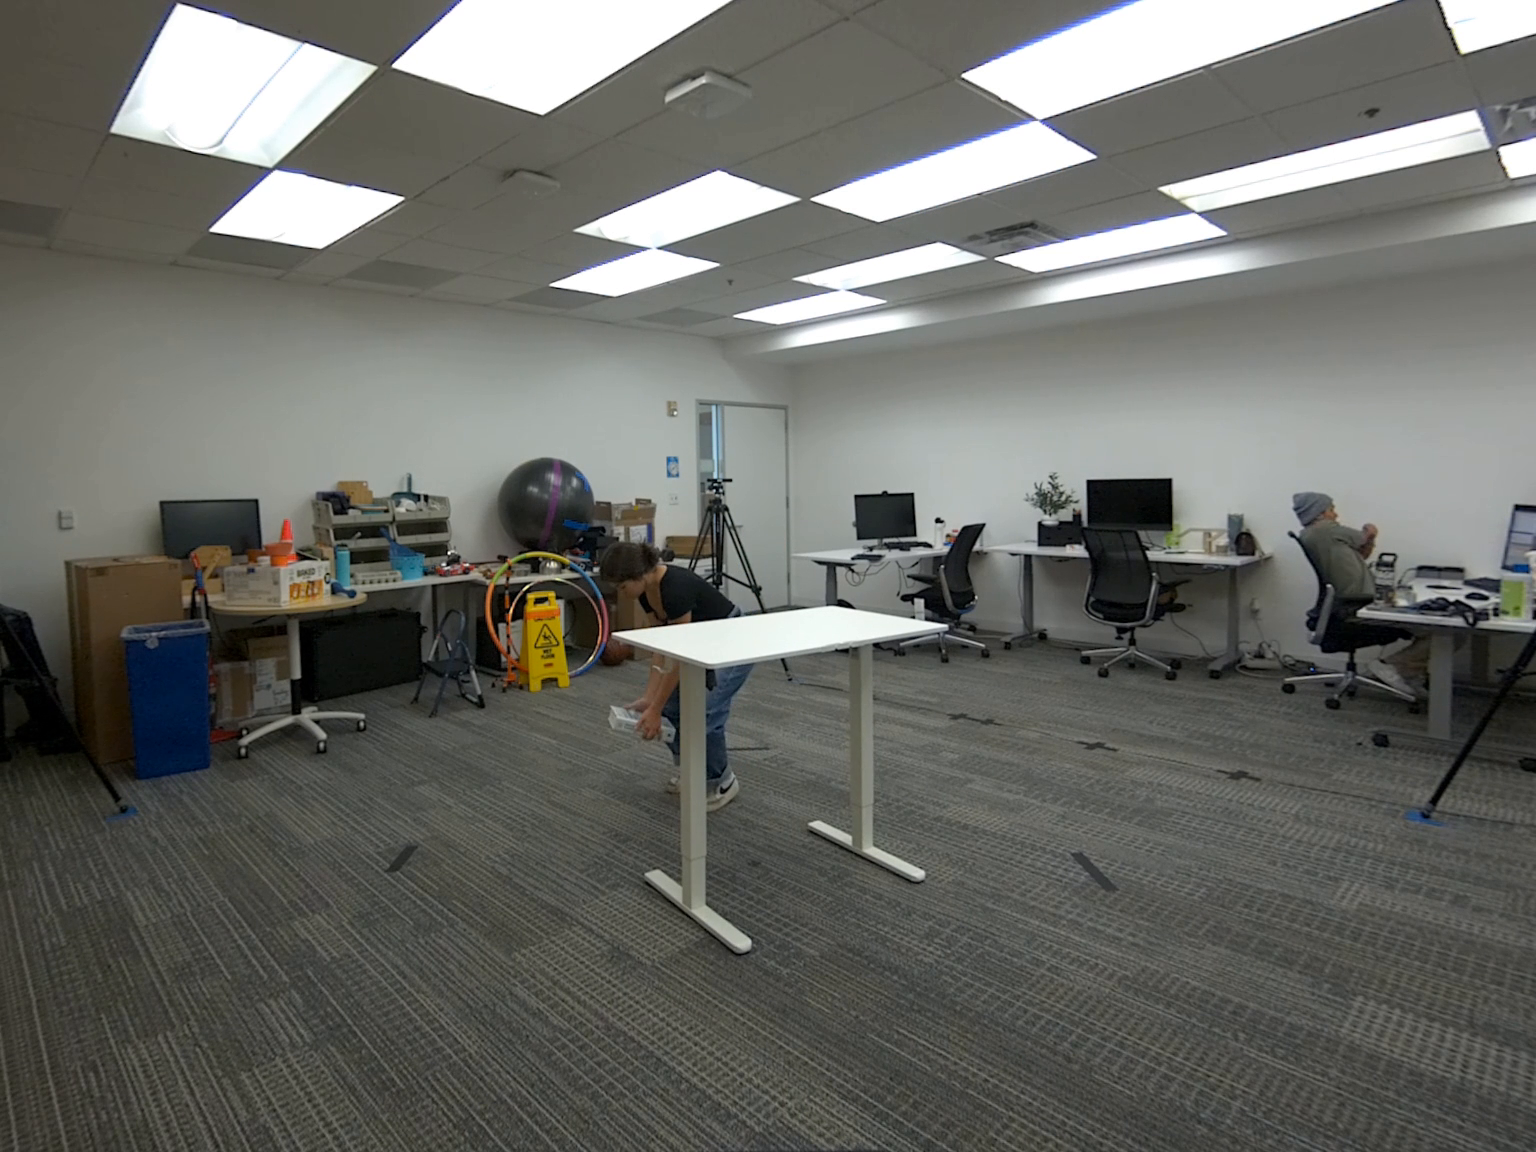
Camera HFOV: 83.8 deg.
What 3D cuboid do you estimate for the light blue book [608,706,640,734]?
[{"bbox_3d":[-0.533,0.642,3.653,0.259,0.059,0.193,15,2,-8],"label":"light blue book"}]
